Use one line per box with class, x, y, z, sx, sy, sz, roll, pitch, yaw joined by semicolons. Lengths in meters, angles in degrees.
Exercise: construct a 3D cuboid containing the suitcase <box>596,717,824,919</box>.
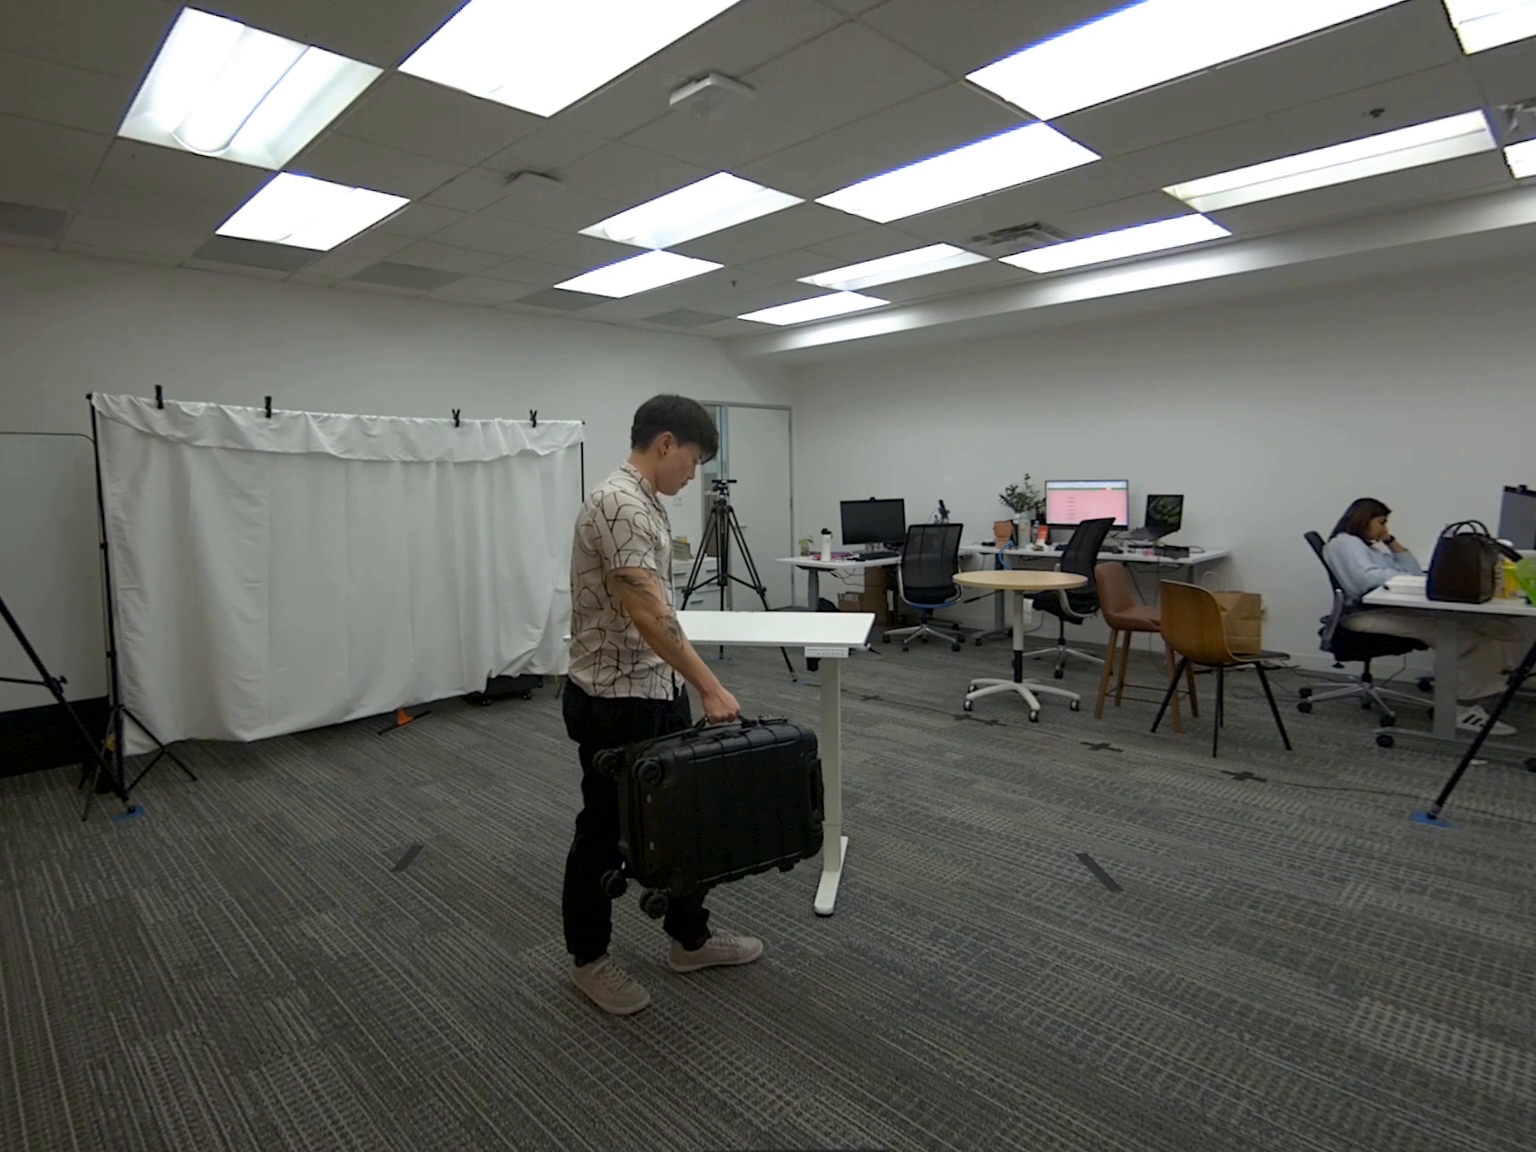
suitcase;-0.124;0.566;2.146;0.535;0.377;0.254;-4;-3;-35
